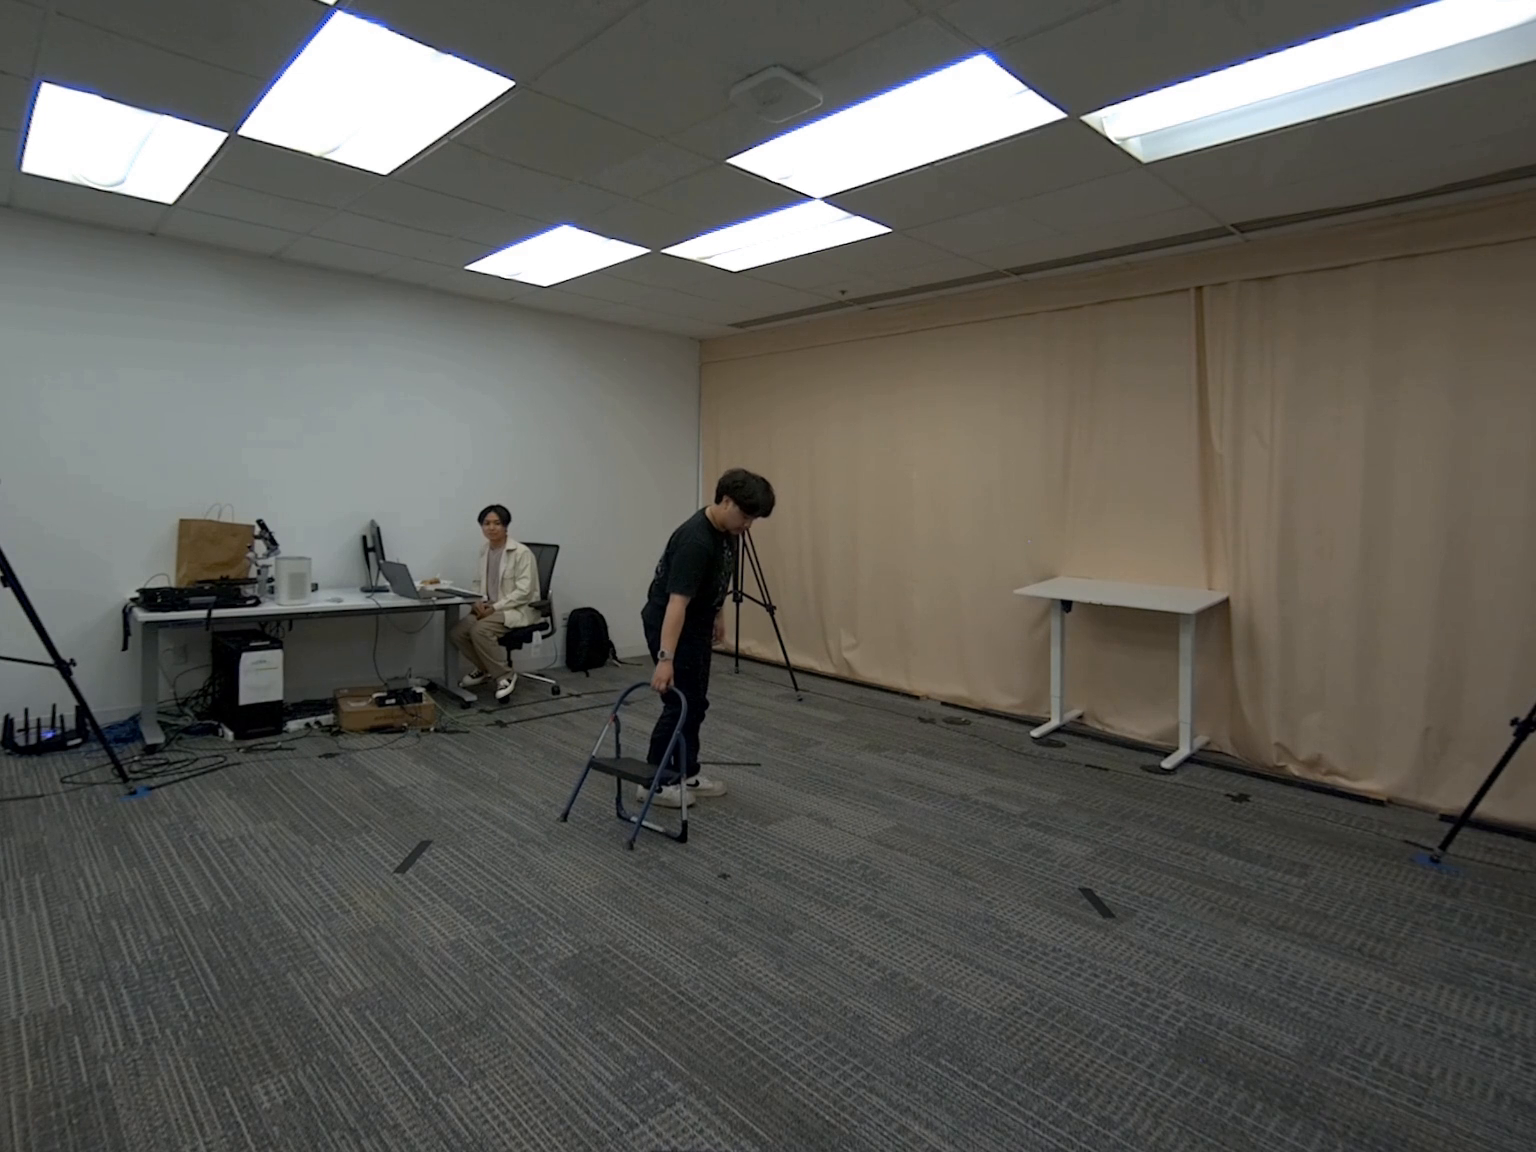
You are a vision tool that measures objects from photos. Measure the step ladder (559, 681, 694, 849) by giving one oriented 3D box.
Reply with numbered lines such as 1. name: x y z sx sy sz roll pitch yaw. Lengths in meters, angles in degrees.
1. step ladder: -0.550 0.742 3.435 0.441 0.608 0.339 4 -8 40
